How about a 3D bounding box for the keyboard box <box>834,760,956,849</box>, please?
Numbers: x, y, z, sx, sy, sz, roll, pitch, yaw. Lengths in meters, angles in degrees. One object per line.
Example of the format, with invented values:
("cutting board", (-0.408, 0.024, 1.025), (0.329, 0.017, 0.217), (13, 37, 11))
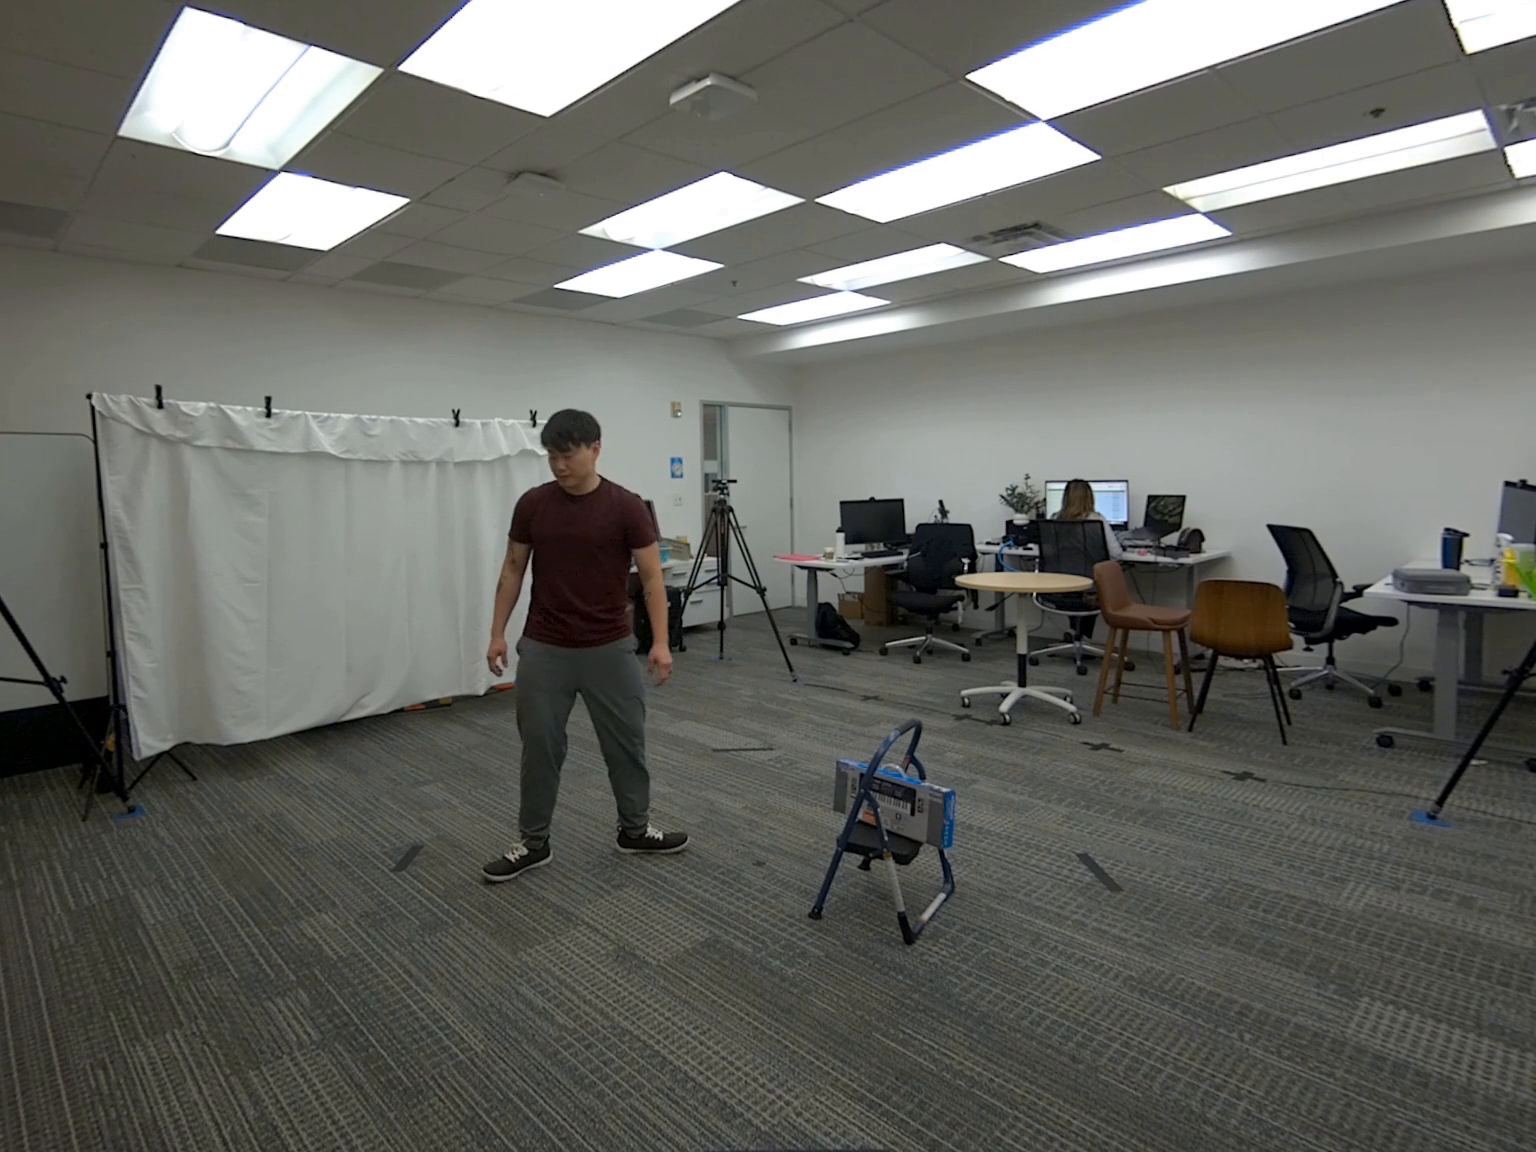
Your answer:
("keyboard box", (0.396, 0.724, 2.763), (0.057, 0.176, 0.450), (7, -1, -43))
